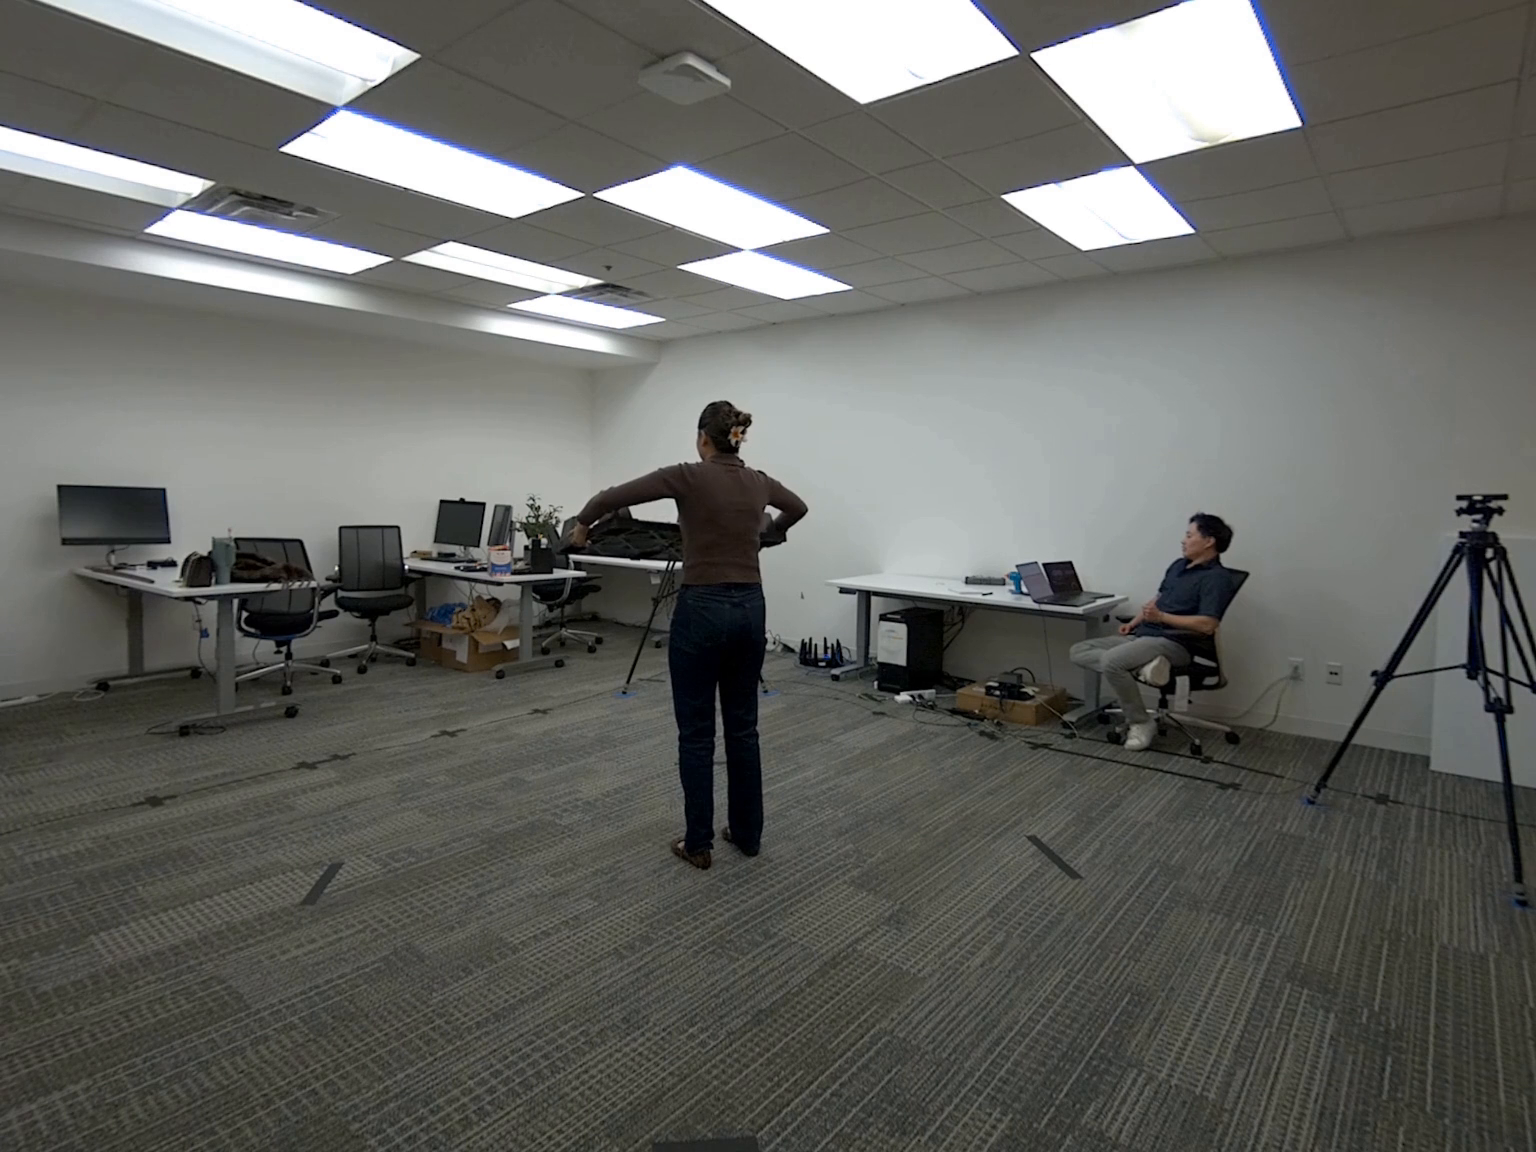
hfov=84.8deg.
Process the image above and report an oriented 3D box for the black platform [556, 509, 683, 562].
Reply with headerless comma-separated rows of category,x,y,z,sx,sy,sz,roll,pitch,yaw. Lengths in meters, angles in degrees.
black platform,-0.424,-0.182,3.540,0.781,0.145,0.618,3,-10,-35
